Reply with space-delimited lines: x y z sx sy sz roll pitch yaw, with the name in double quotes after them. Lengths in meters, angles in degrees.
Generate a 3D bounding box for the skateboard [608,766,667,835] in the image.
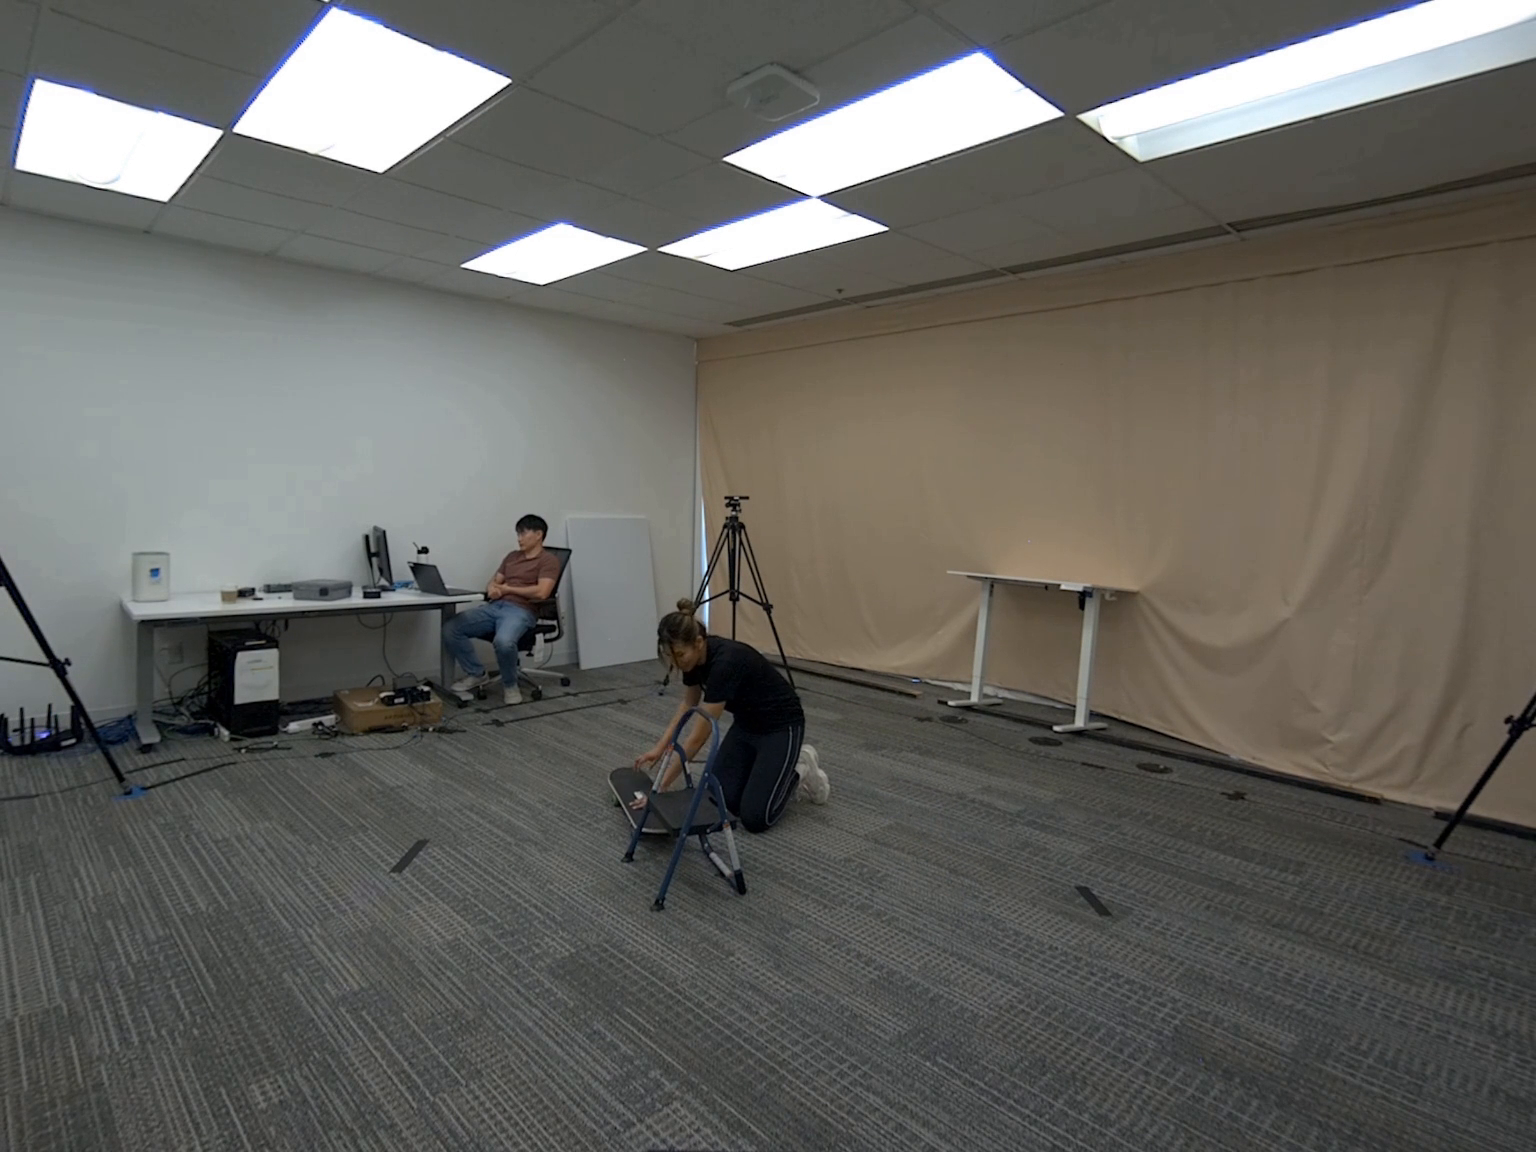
-0.545 0.990 3.609 0.191 0.110 0.799 2 5 -19 "skateboard"
